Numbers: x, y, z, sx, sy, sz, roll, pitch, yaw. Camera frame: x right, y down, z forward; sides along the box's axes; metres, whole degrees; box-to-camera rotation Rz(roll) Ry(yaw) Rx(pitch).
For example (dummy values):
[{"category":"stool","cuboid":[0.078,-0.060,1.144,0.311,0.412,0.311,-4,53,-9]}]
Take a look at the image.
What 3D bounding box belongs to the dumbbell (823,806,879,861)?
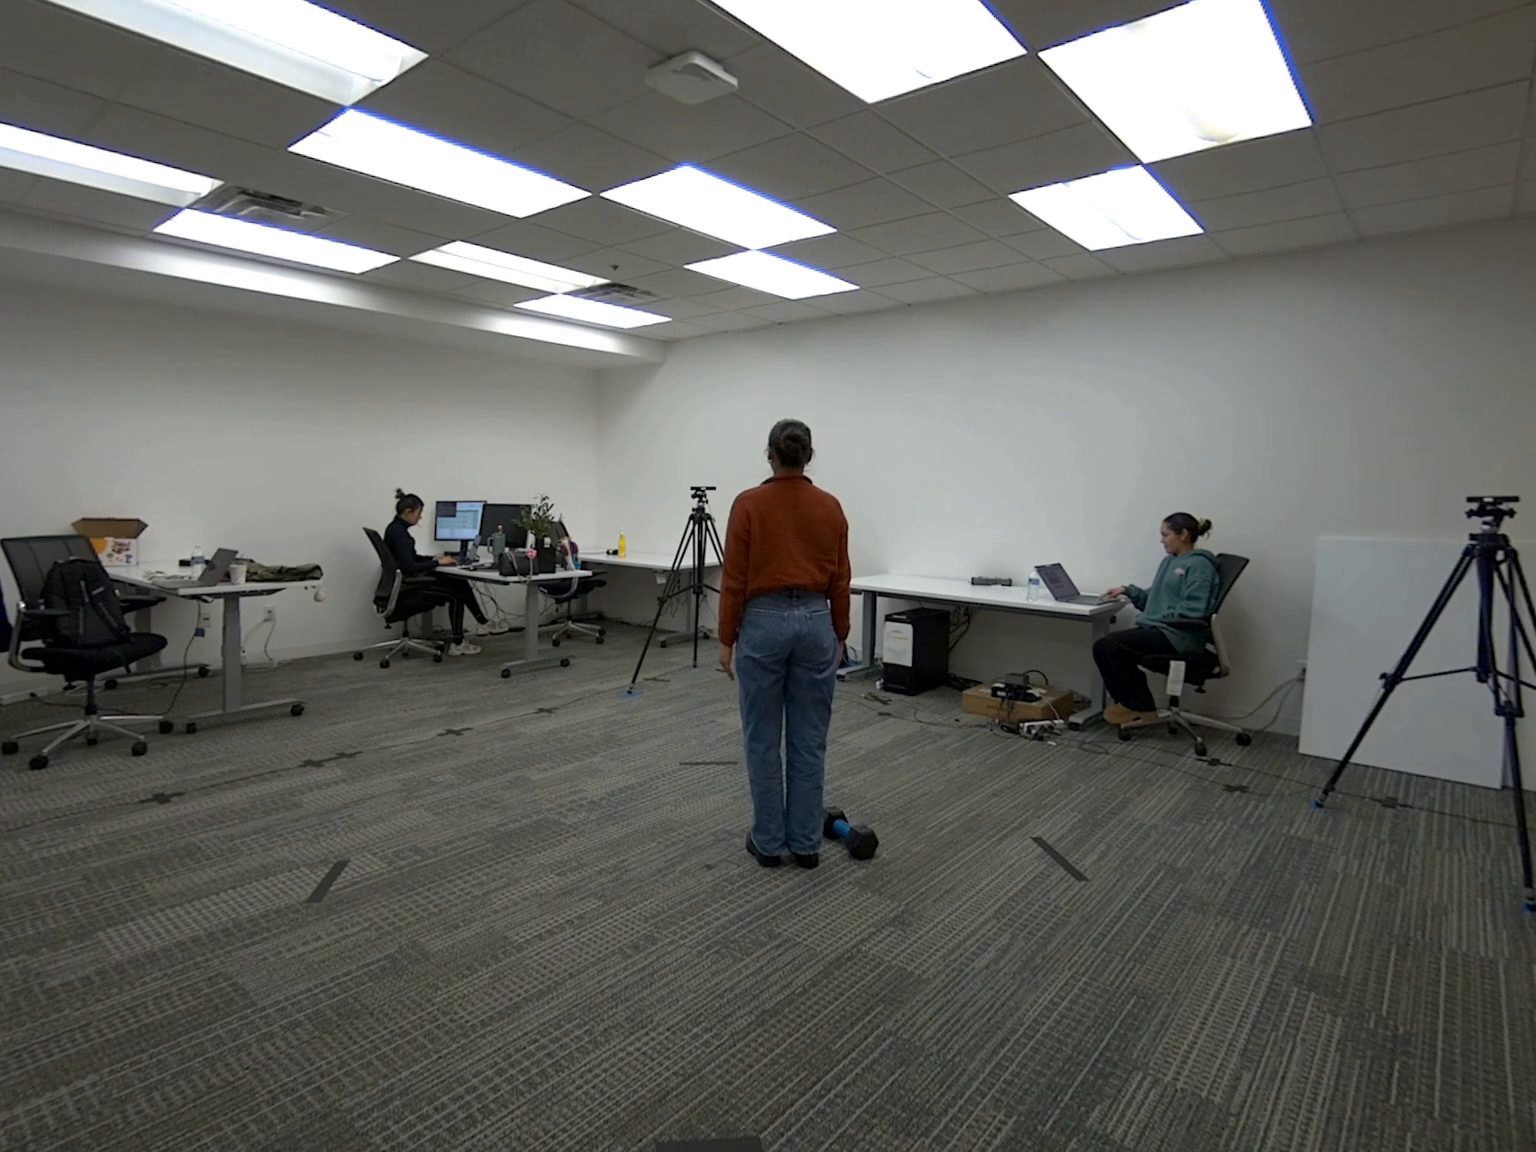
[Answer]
[{"category":"dumbbell","cuboid":[0.307,1.004,3.337,0.108,0.120,0.302,-33,18,-20]}]
